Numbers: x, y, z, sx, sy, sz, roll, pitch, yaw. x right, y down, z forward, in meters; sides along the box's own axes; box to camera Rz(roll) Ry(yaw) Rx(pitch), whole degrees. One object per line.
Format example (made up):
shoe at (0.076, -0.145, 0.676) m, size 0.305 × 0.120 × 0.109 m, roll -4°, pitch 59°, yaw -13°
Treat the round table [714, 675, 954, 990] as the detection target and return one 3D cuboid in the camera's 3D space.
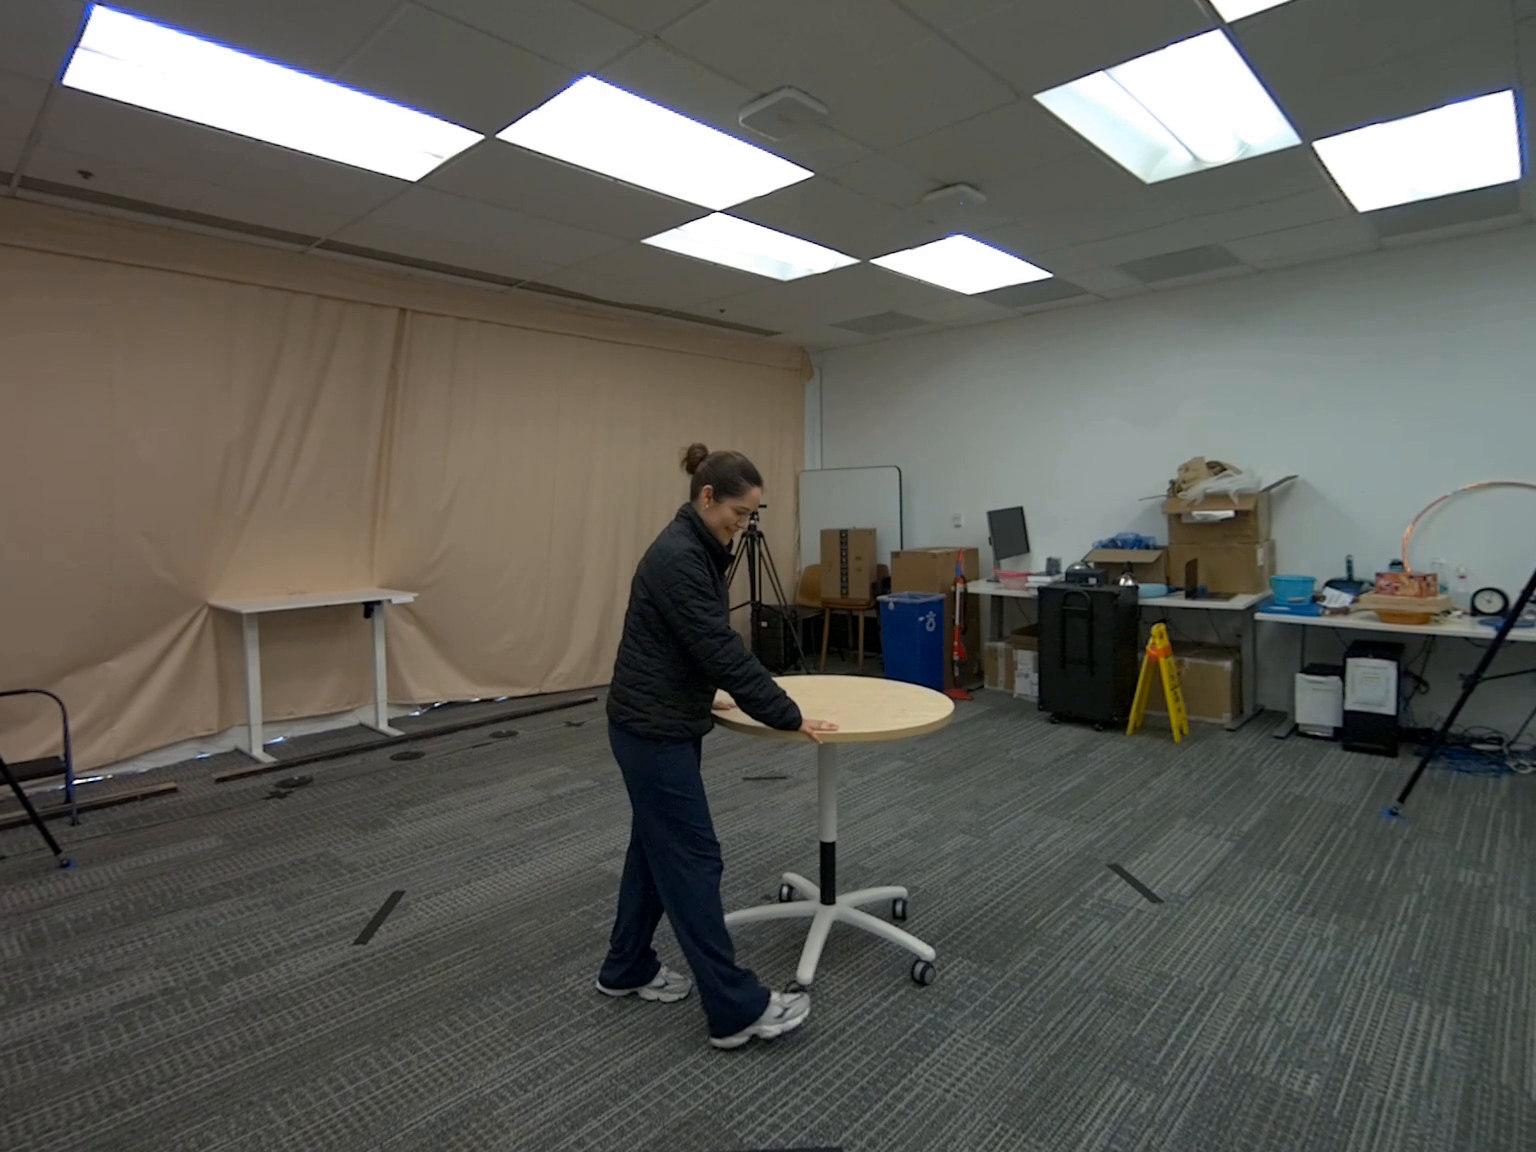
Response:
round table at (0.196, 0.775, 2.625) m, size 0.784 × 0.785 × 0.788 m, roll -1°, pitch 4°, yaw -2°
